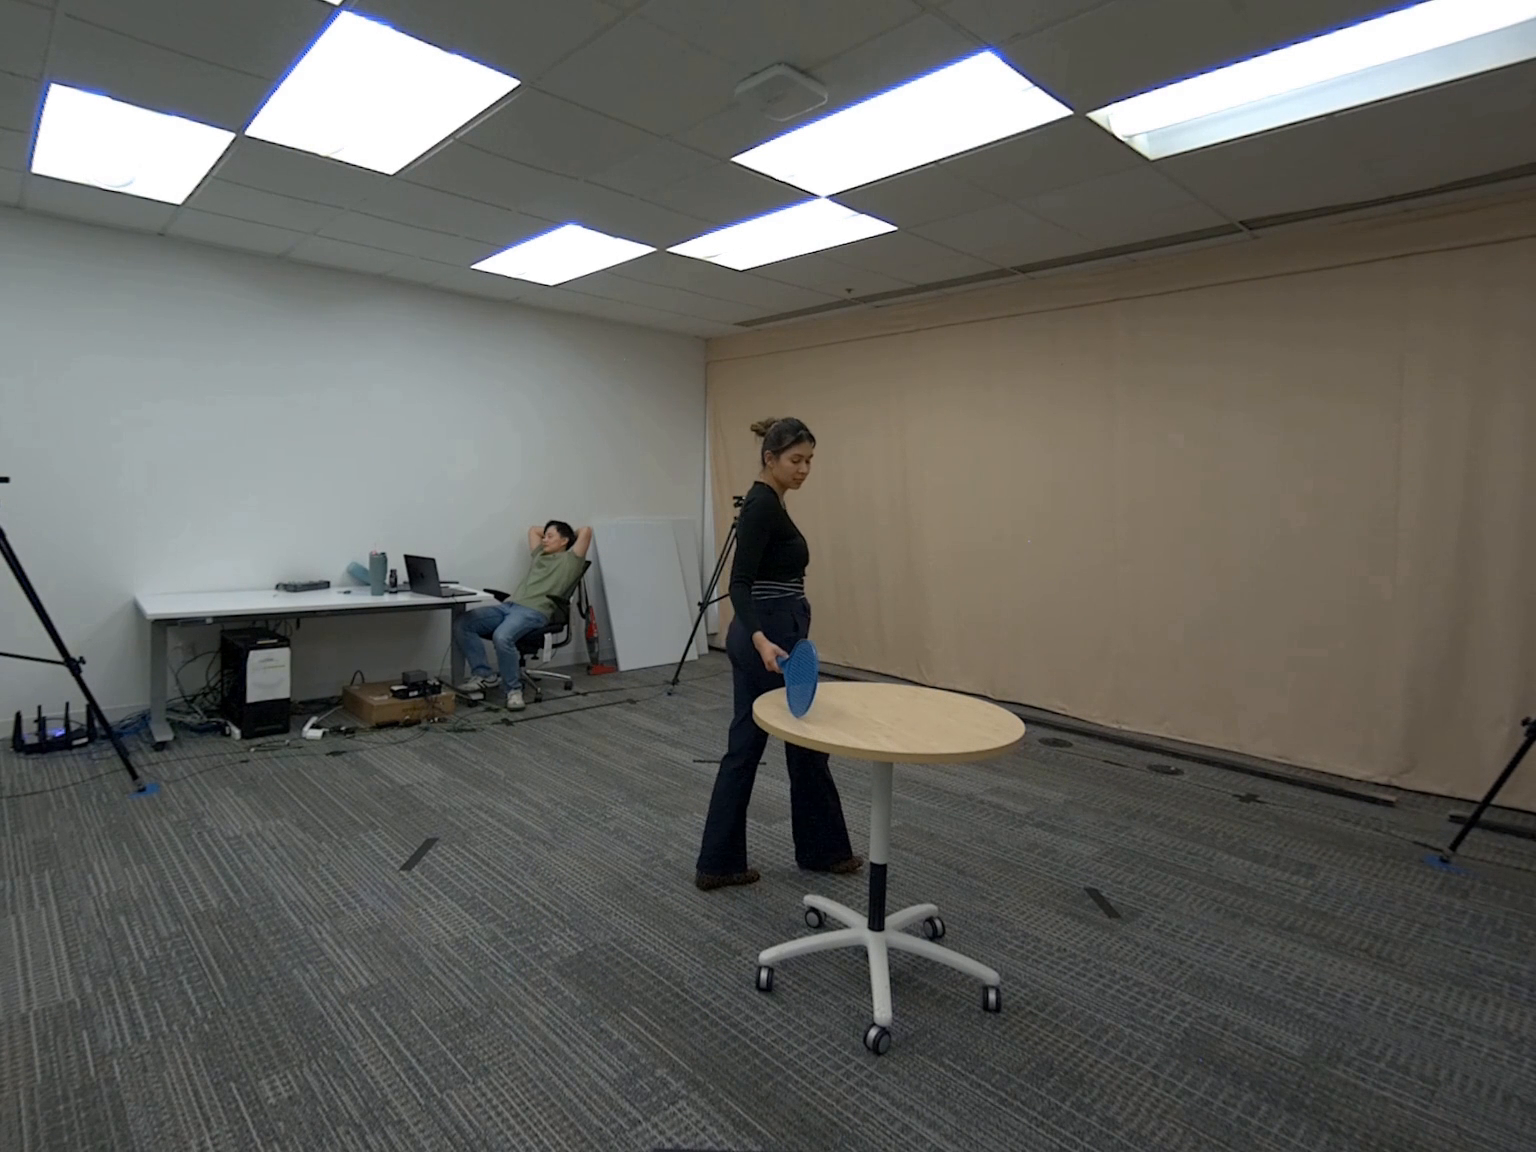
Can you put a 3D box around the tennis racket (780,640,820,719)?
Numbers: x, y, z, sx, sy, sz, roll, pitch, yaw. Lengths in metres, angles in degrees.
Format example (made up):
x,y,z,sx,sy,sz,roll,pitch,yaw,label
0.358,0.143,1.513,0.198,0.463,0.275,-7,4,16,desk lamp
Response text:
x,y,z,sx,sy,sz,roll,pitch,yaw,label
0.084,0.281,2.430,0.031,0.214,0.435,5,1,-7,tennis racket
